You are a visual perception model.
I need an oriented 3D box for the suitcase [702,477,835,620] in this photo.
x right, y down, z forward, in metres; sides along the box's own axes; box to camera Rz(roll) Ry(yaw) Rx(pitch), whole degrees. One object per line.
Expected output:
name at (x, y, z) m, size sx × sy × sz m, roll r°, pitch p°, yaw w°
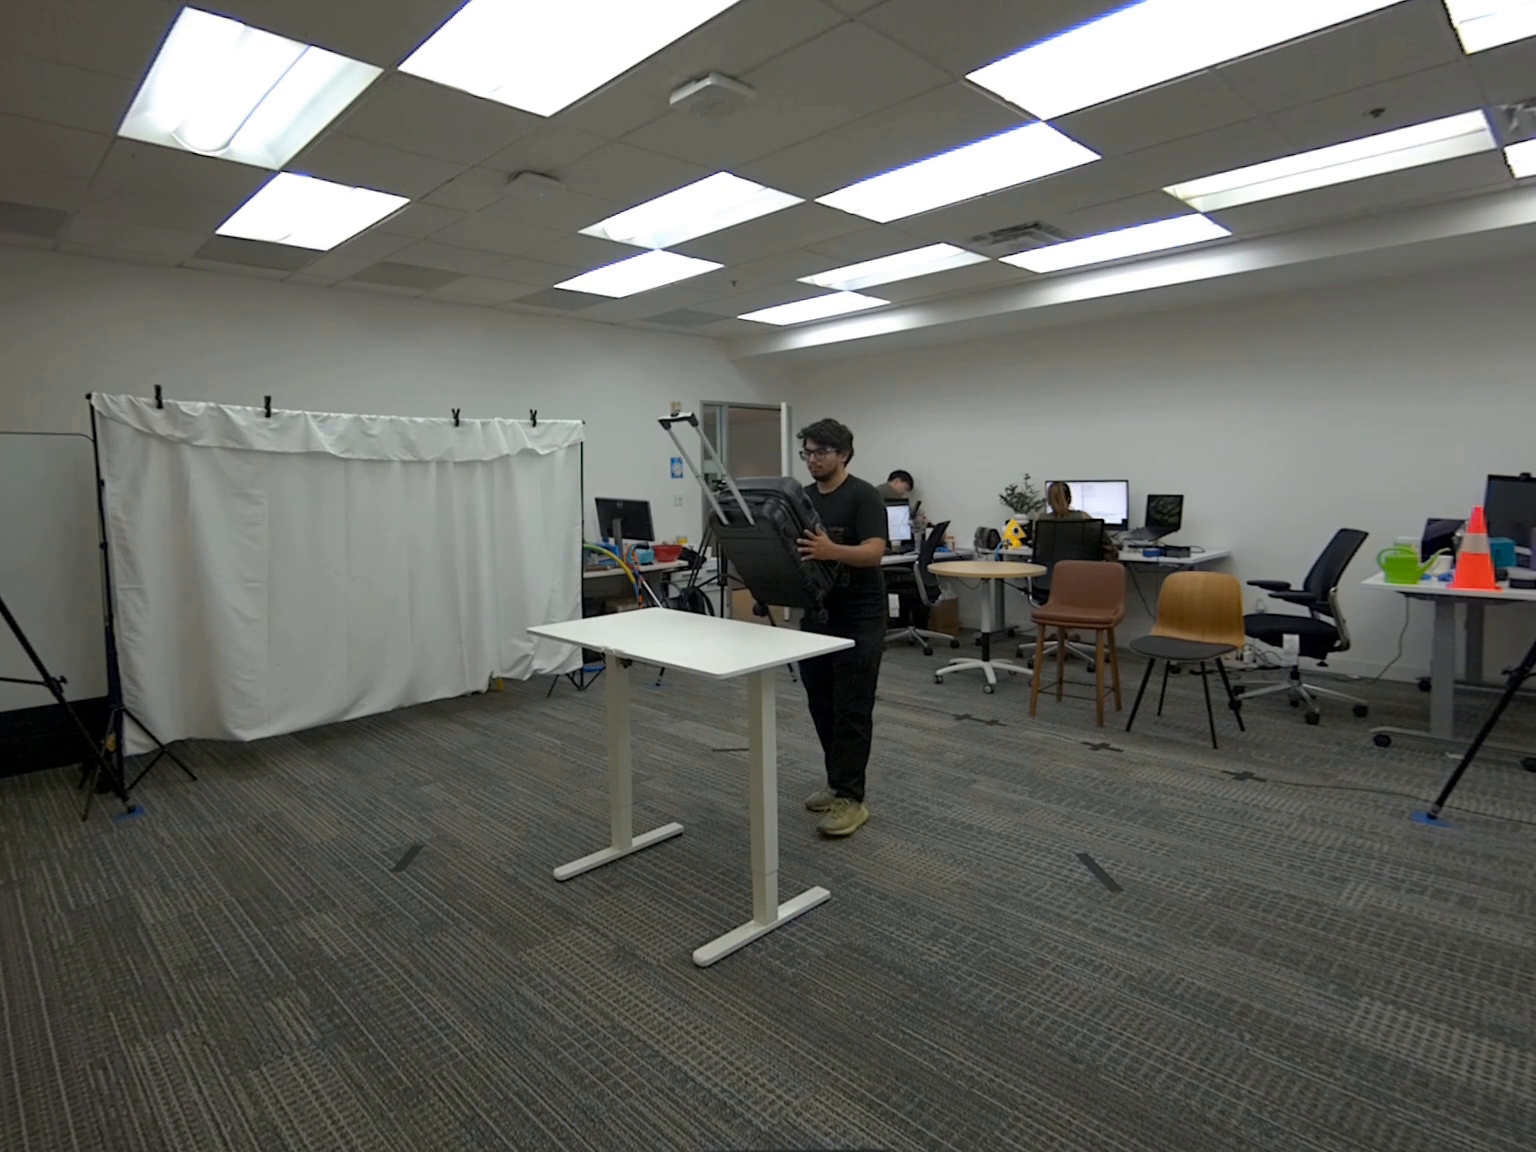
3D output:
suitcase at (-0.050, -0.268, 3.169) m, size 0.396 × 0.947 × 0.258 m, roll 3°, pitch 43°, yaw 42°
